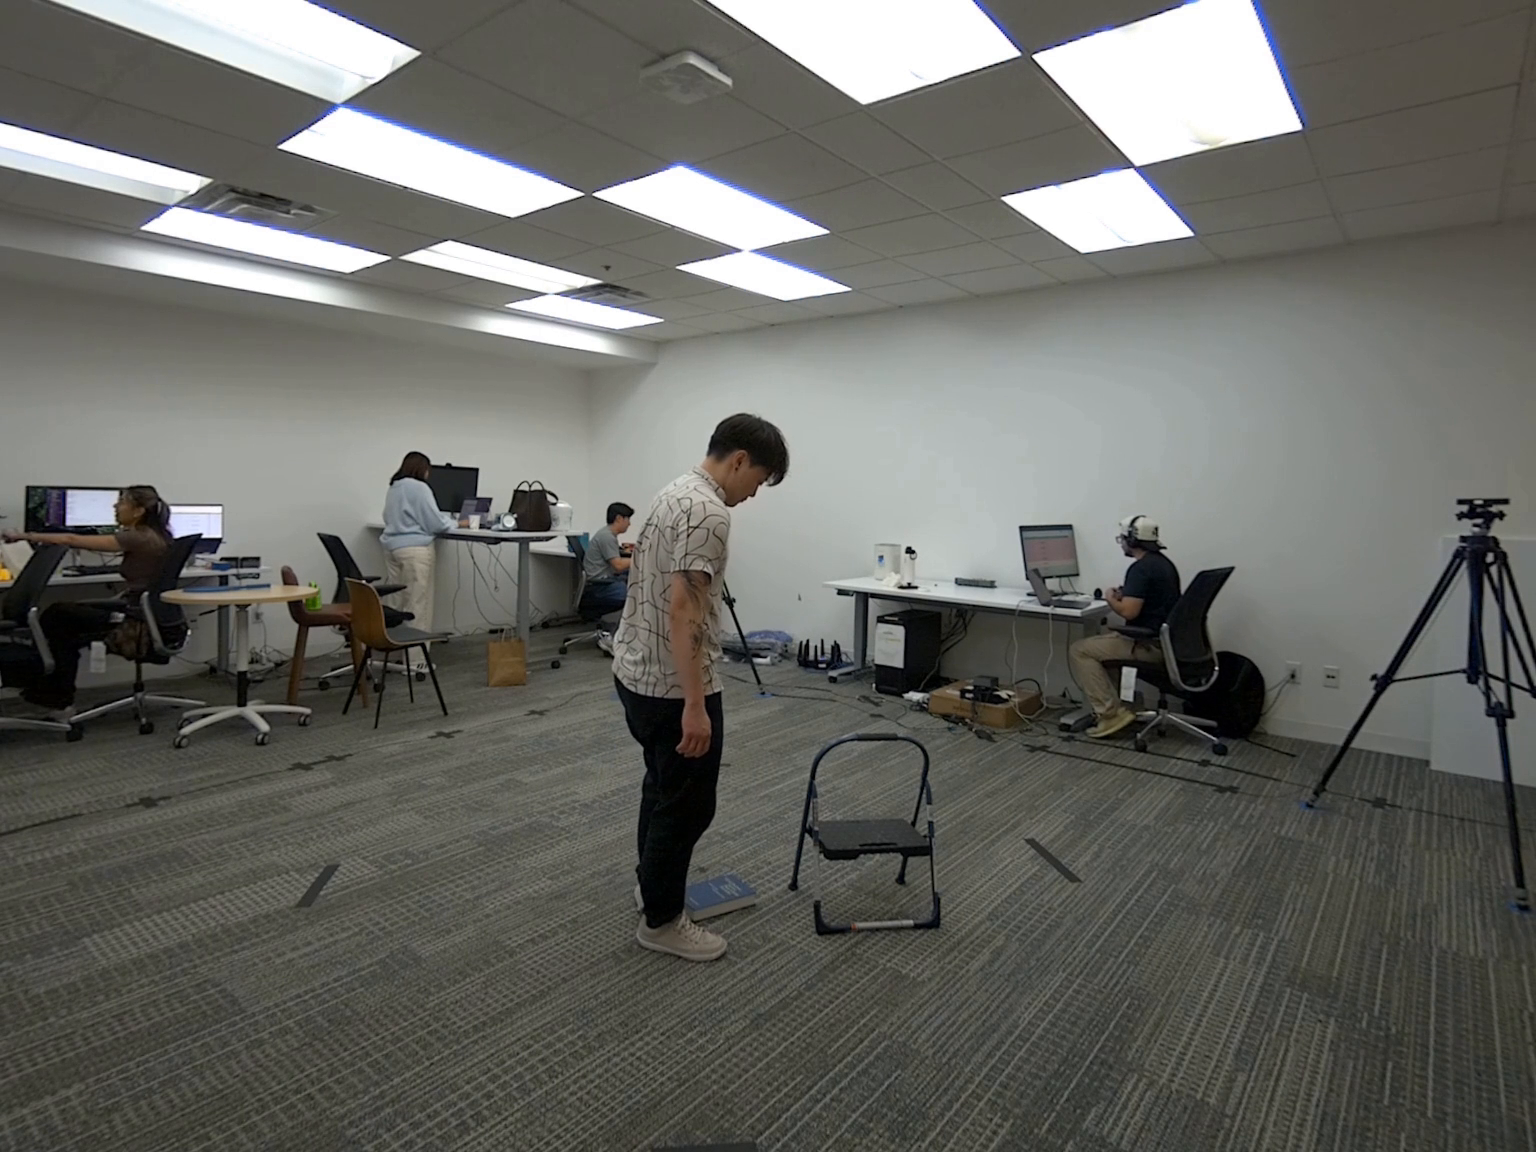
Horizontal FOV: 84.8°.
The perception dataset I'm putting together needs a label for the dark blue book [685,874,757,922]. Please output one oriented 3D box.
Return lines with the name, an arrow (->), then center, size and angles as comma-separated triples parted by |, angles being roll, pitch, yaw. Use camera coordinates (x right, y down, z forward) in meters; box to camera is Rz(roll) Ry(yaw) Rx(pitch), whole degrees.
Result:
dark blue book -> -0.189, 1.073, 2.842 | 0.238, 0.045, 0.168 | -2, 6, -33
